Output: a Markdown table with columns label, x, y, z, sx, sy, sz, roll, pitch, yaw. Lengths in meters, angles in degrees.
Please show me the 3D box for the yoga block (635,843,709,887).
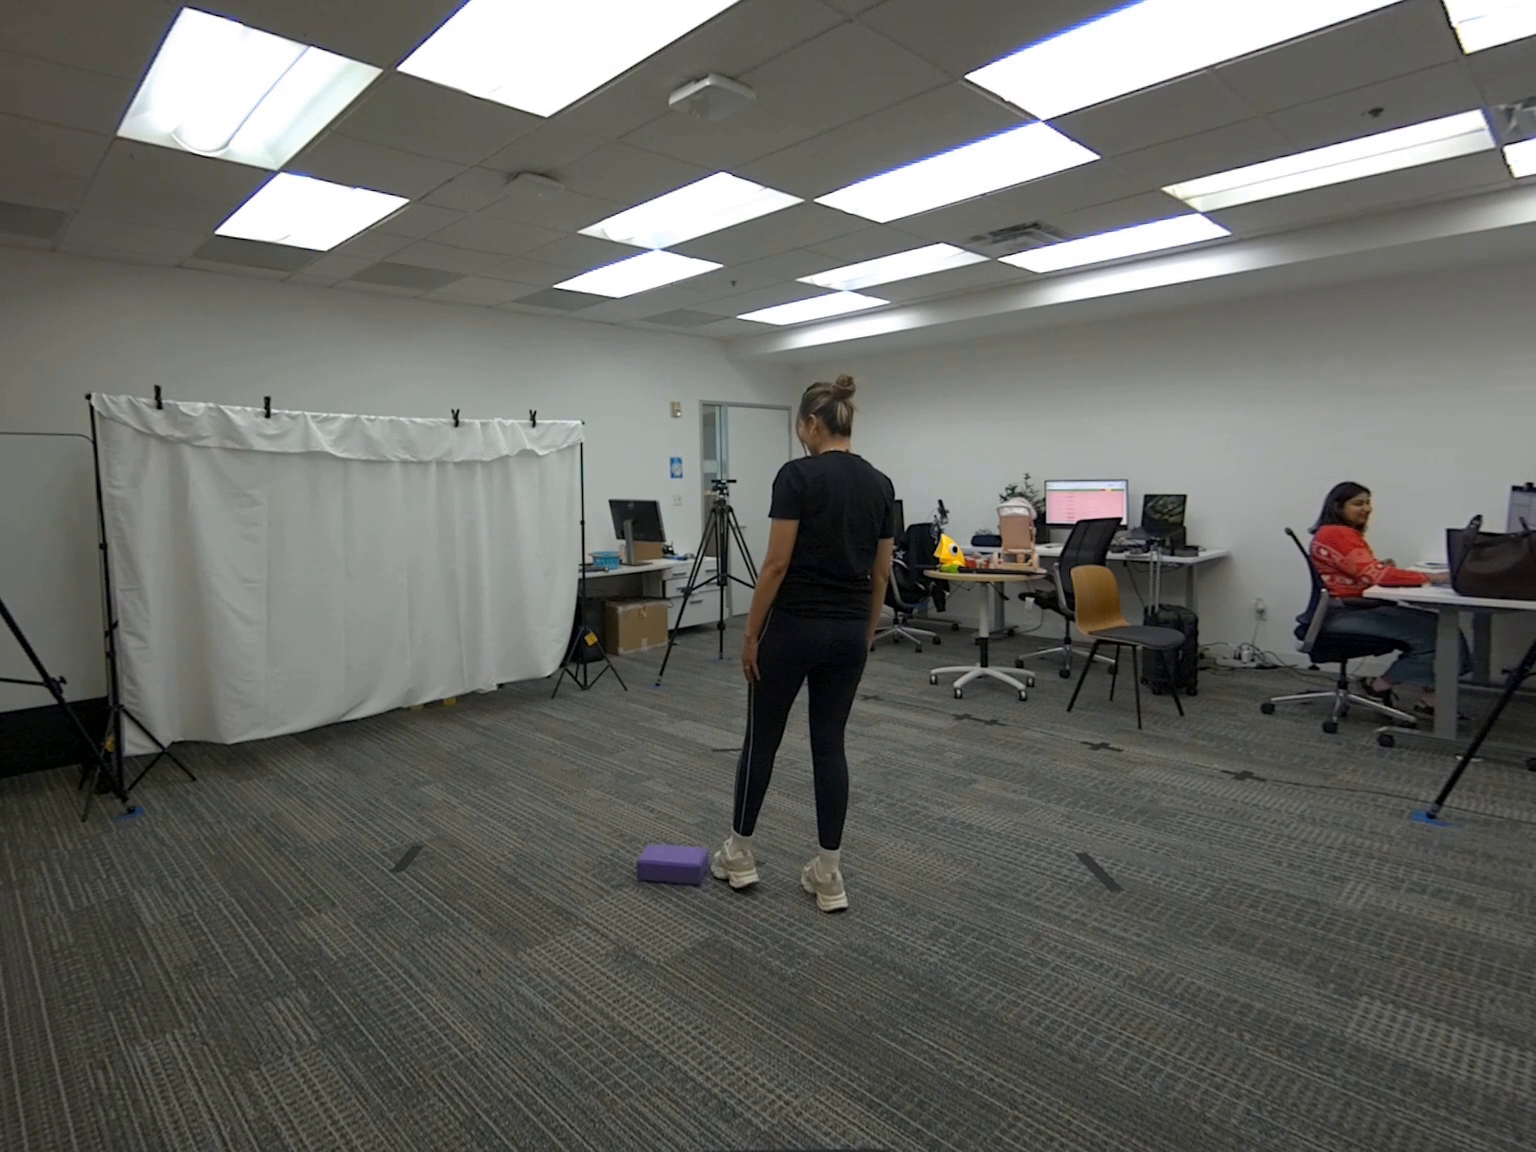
| label | x | y | z | sx | sy | sz | roll | pitch | yaw |
| --- | --- | --- | --- | --- | --- | --- | --- | --- | --- |
| yoga block | -0.334 | 1.020 | 3.022 | 0.232 | 0.076 | 0.148 | 2 | 7 | 10 |
